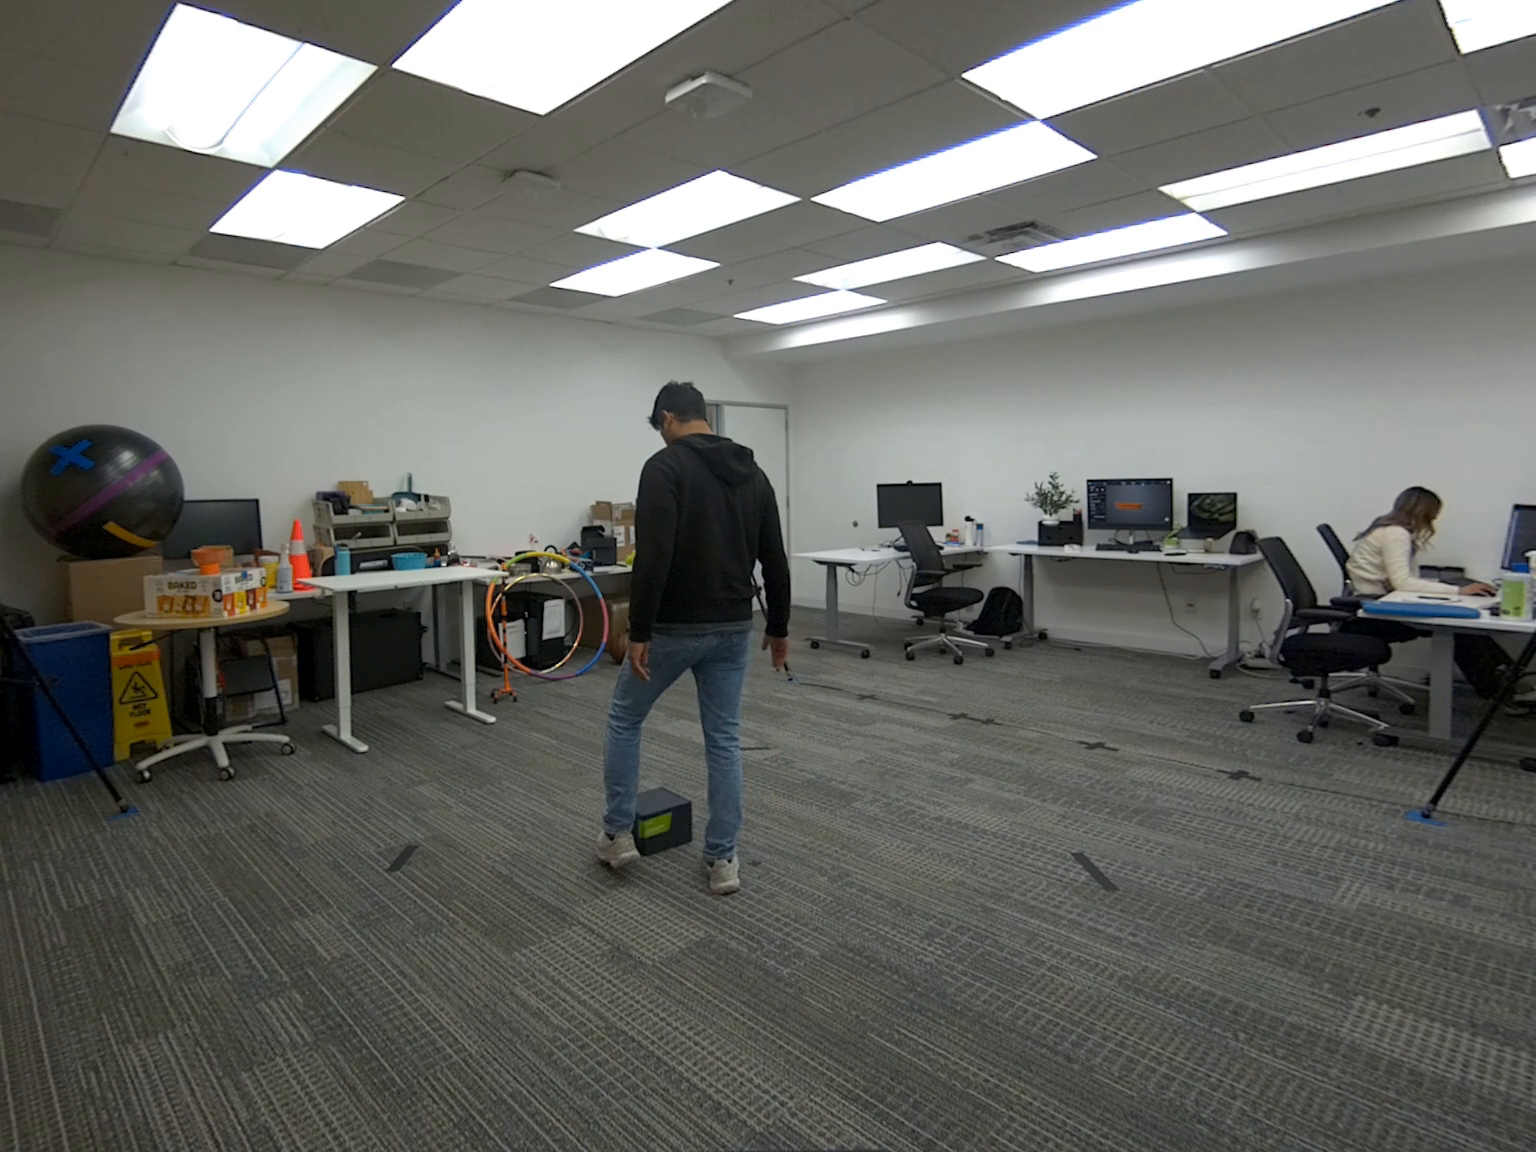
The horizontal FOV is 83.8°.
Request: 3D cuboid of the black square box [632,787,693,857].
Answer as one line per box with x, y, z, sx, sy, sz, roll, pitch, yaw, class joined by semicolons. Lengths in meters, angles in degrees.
-0.447;0.945;3.311;0.222;0.155;0.224;-5;7;-40;black square box
